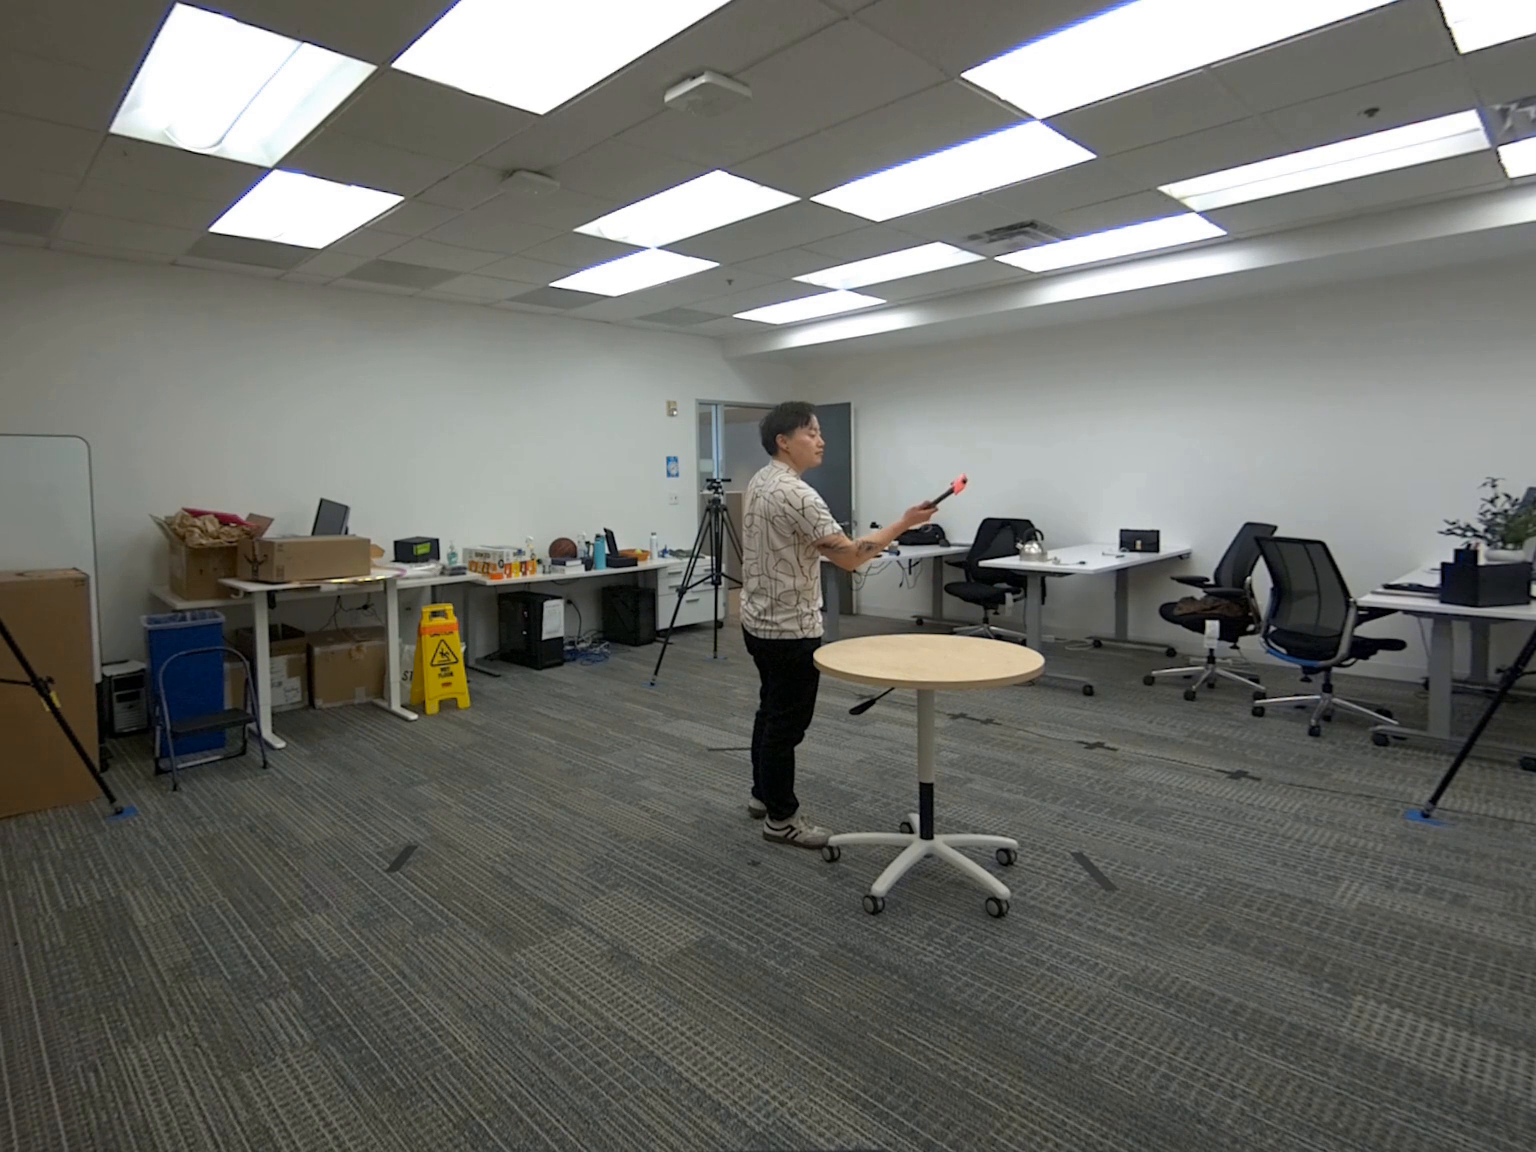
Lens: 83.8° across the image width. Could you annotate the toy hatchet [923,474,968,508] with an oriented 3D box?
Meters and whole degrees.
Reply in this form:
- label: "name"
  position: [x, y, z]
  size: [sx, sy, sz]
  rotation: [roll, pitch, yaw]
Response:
- label: "toy hatchet"
  position: [0.610, -0.287, 2.984]
  size: [0.029, 0.131, 0.272]
  rotation: [42, -27, -11]
